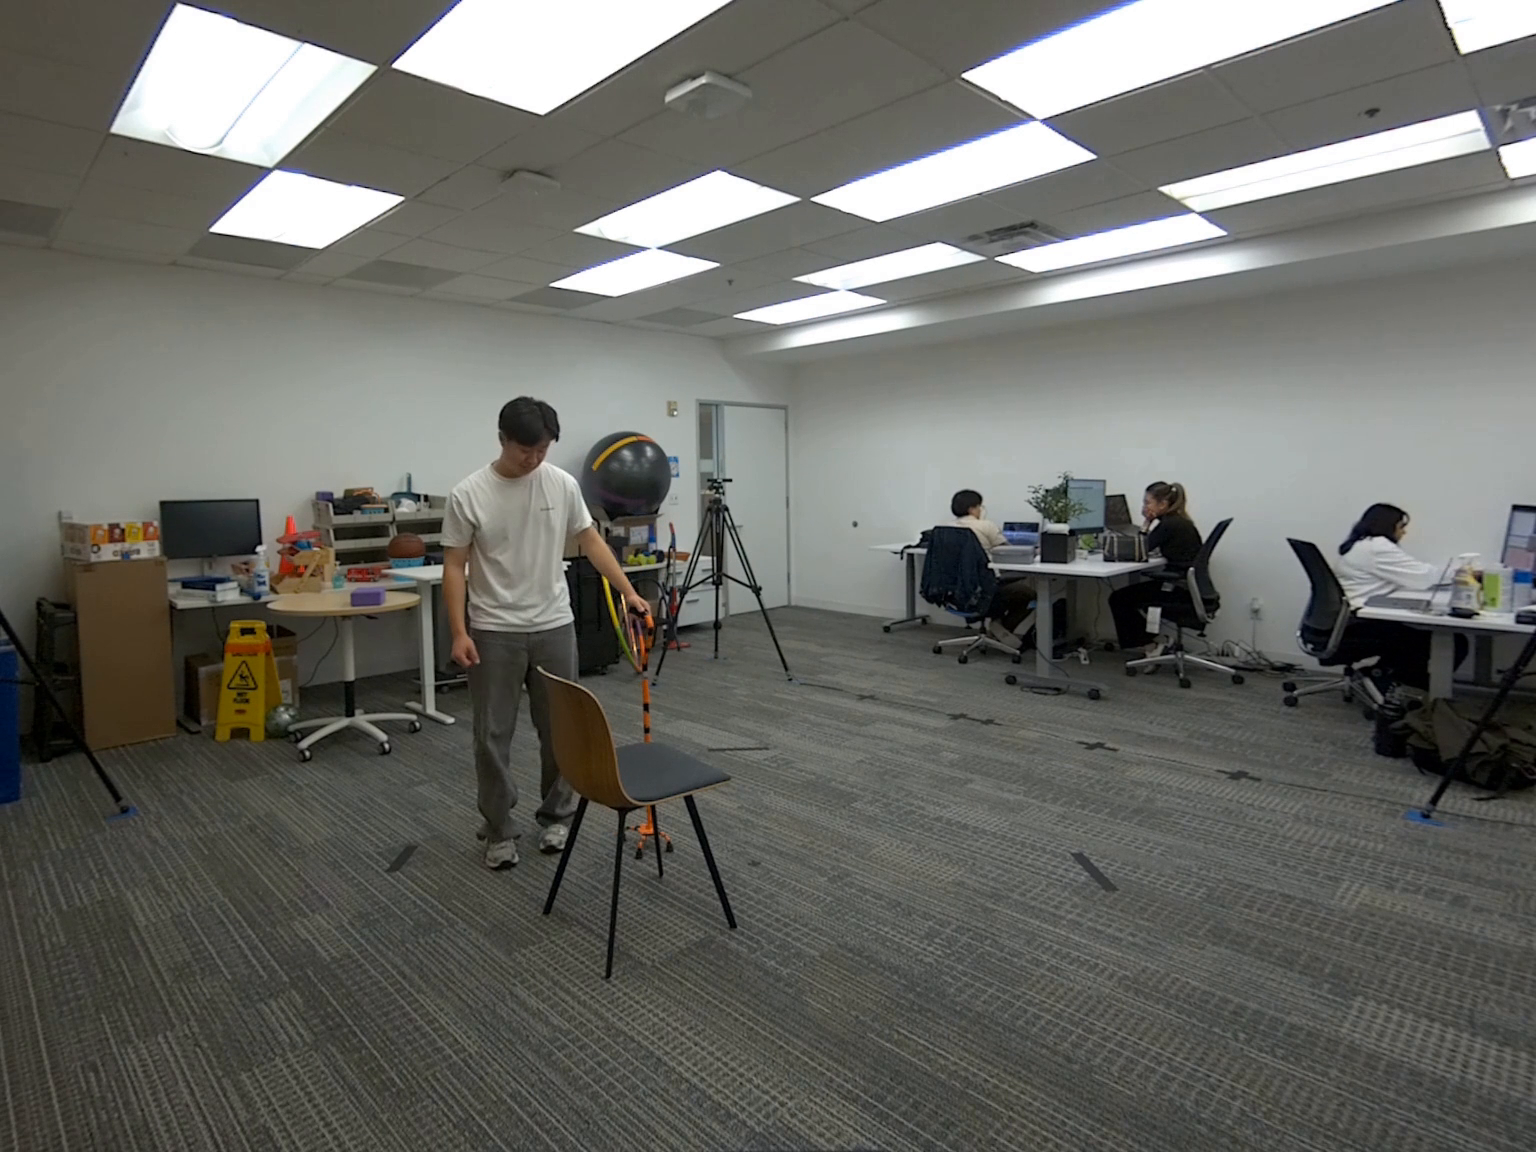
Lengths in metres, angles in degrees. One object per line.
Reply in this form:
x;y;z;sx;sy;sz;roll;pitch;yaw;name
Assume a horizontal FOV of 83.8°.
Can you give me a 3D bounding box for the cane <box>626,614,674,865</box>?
-0.474;0.576;3.247;0.148;0.906;0.211;-2;2;-28;cane
